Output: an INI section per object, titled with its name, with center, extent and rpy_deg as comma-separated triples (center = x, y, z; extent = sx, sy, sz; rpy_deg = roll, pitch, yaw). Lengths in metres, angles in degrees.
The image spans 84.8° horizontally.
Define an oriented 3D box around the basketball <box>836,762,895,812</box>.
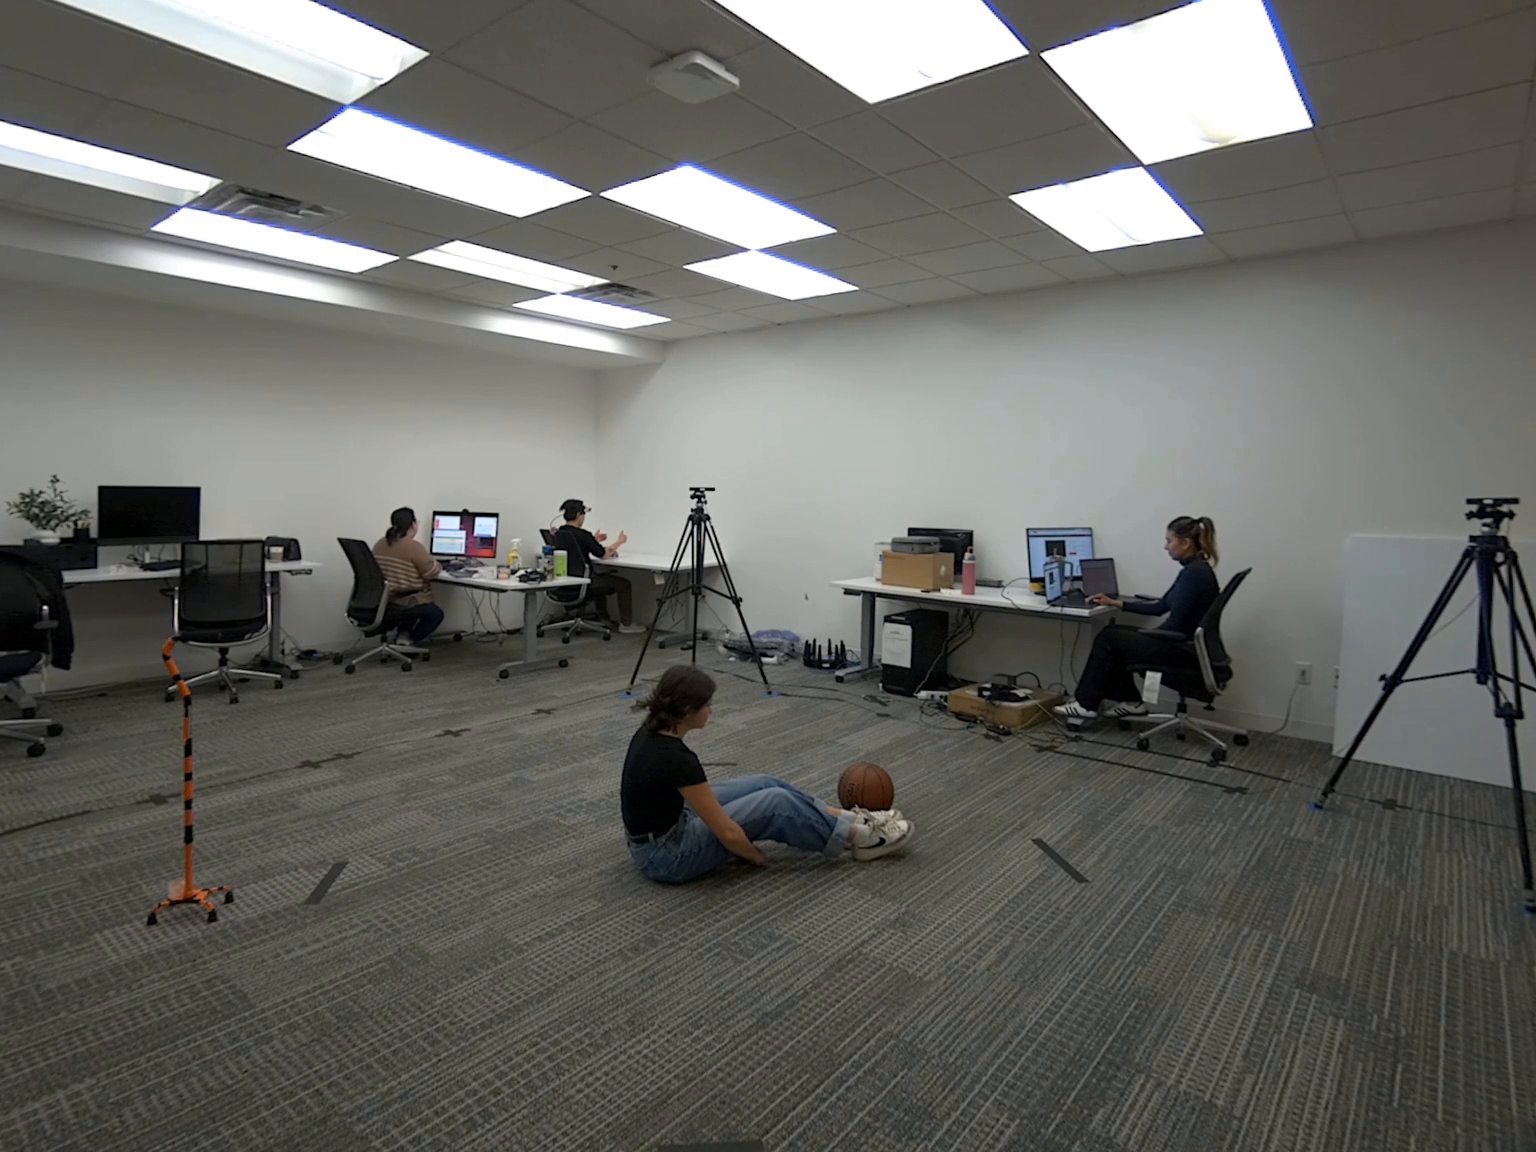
[basketball]
center = 0.409, 0.907, 3.613
extent = 0.235, 0.235, 0.237
rpy_deg = 1, 4, -2
